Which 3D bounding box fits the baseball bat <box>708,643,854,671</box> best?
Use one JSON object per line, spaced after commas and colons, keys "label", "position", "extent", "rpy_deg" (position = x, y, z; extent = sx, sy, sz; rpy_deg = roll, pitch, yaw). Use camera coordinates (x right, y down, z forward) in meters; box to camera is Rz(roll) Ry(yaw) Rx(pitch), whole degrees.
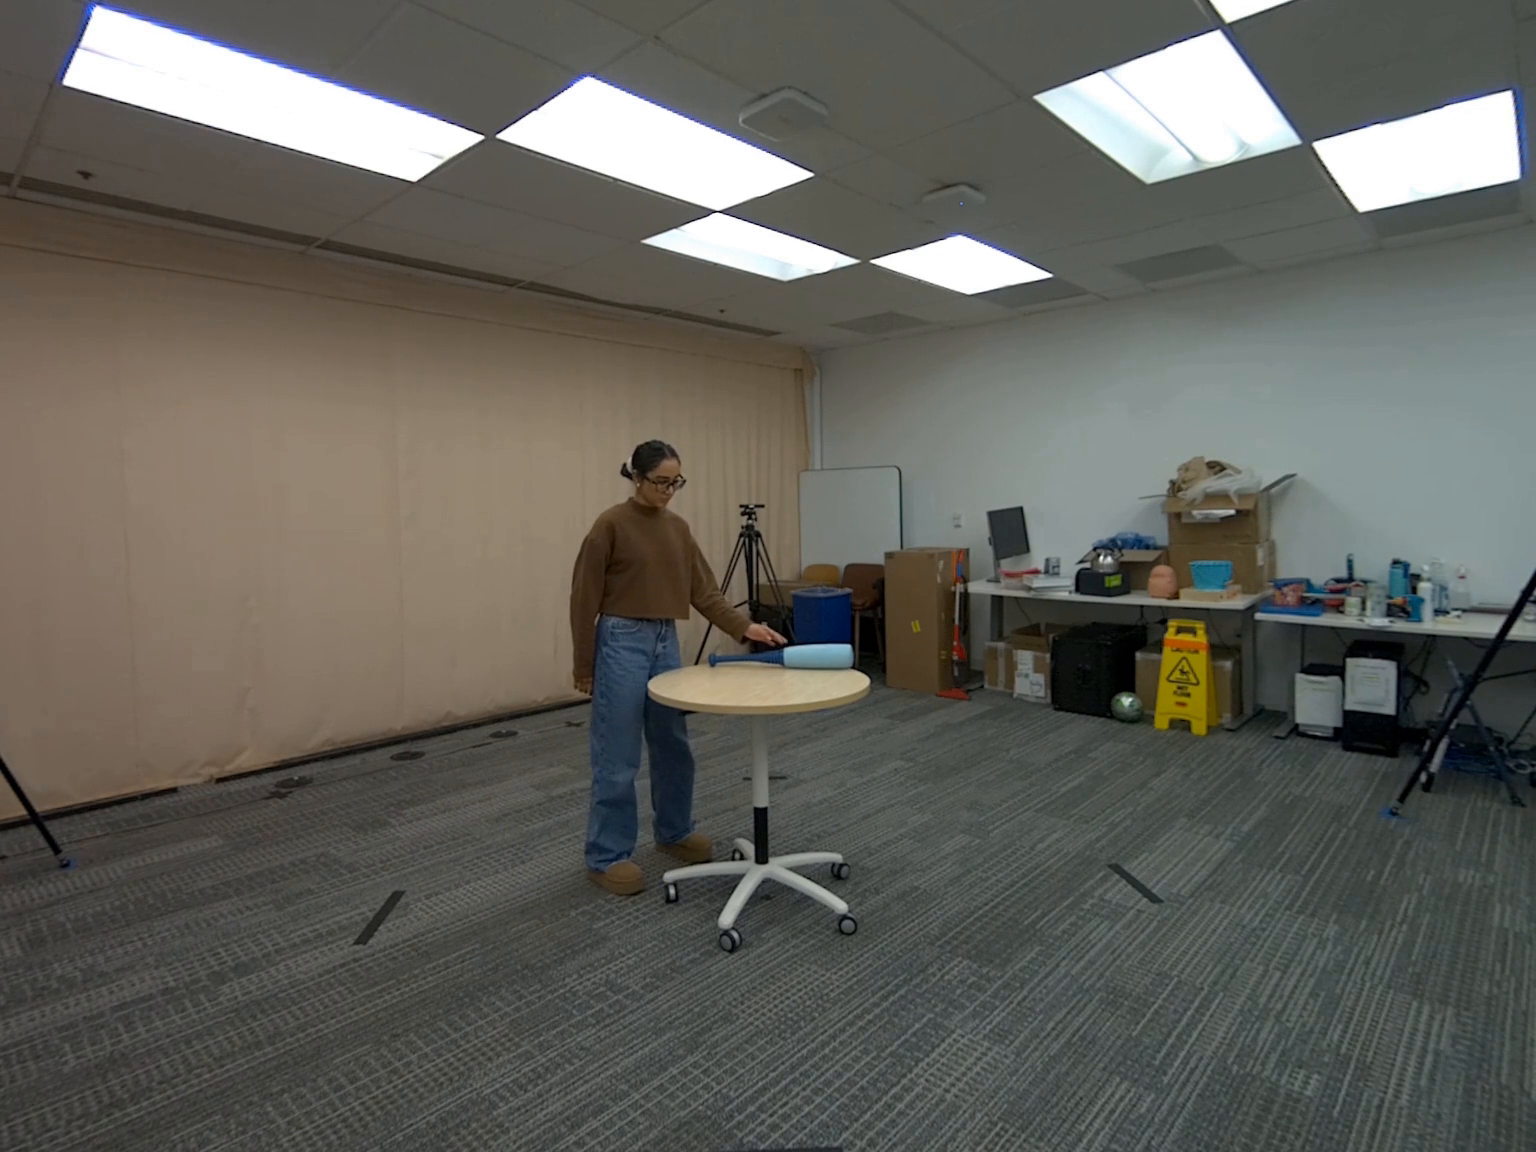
{"label": "baseball bat", "position": [0.047, 0.312, 3.139], "extent": [0.552, 0.089, 0.088], "rpy_deg": [-4, 3, 16]}
